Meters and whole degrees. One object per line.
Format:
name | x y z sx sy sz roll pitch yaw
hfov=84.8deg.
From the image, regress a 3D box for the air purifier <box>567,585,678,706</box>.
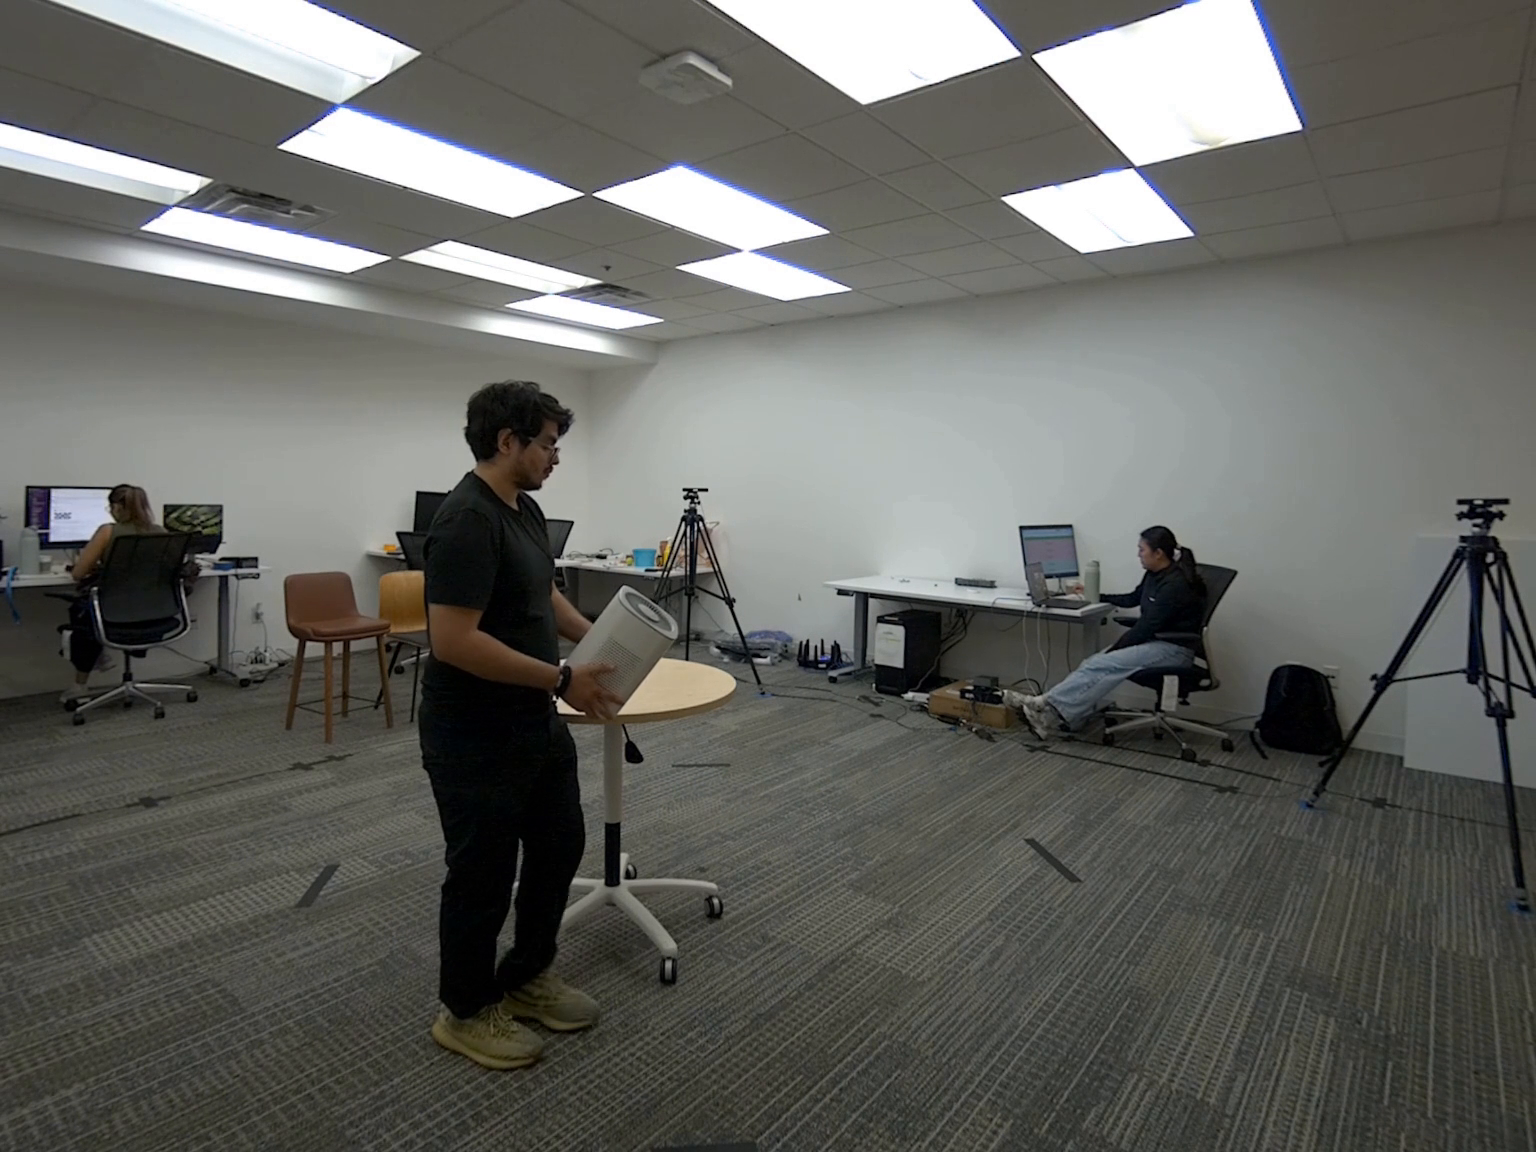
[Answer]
air purifier | -0.371 0.184 2.018 0.172 0.262 0.170 37 9 -9
